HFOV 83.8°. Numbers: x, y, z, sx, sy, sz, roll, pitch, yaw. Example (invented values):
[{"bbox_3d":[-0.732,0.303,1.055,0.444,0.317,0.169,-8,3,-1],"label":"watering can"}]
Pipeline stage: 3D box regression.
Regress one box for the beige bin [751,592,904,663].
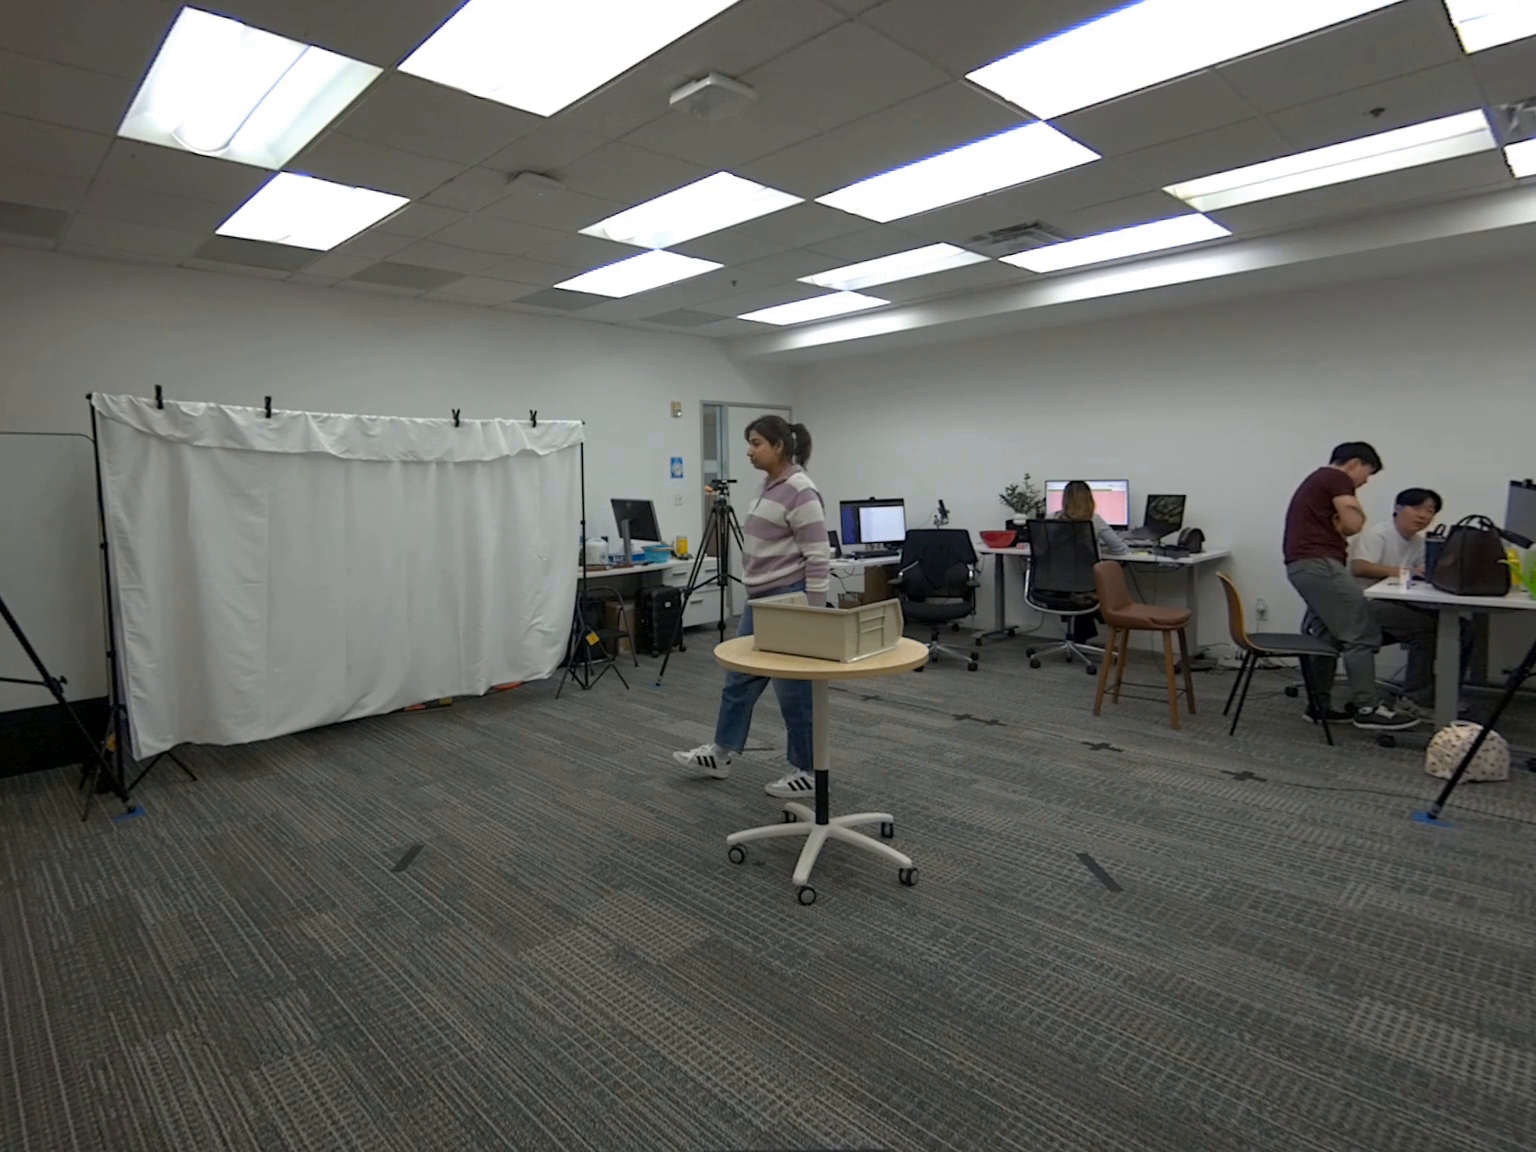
[{"bbox_3d":[0.207,0.176,3.067,0.435,0.188,0.368,4,9,39],"label":"beige bin"}]
